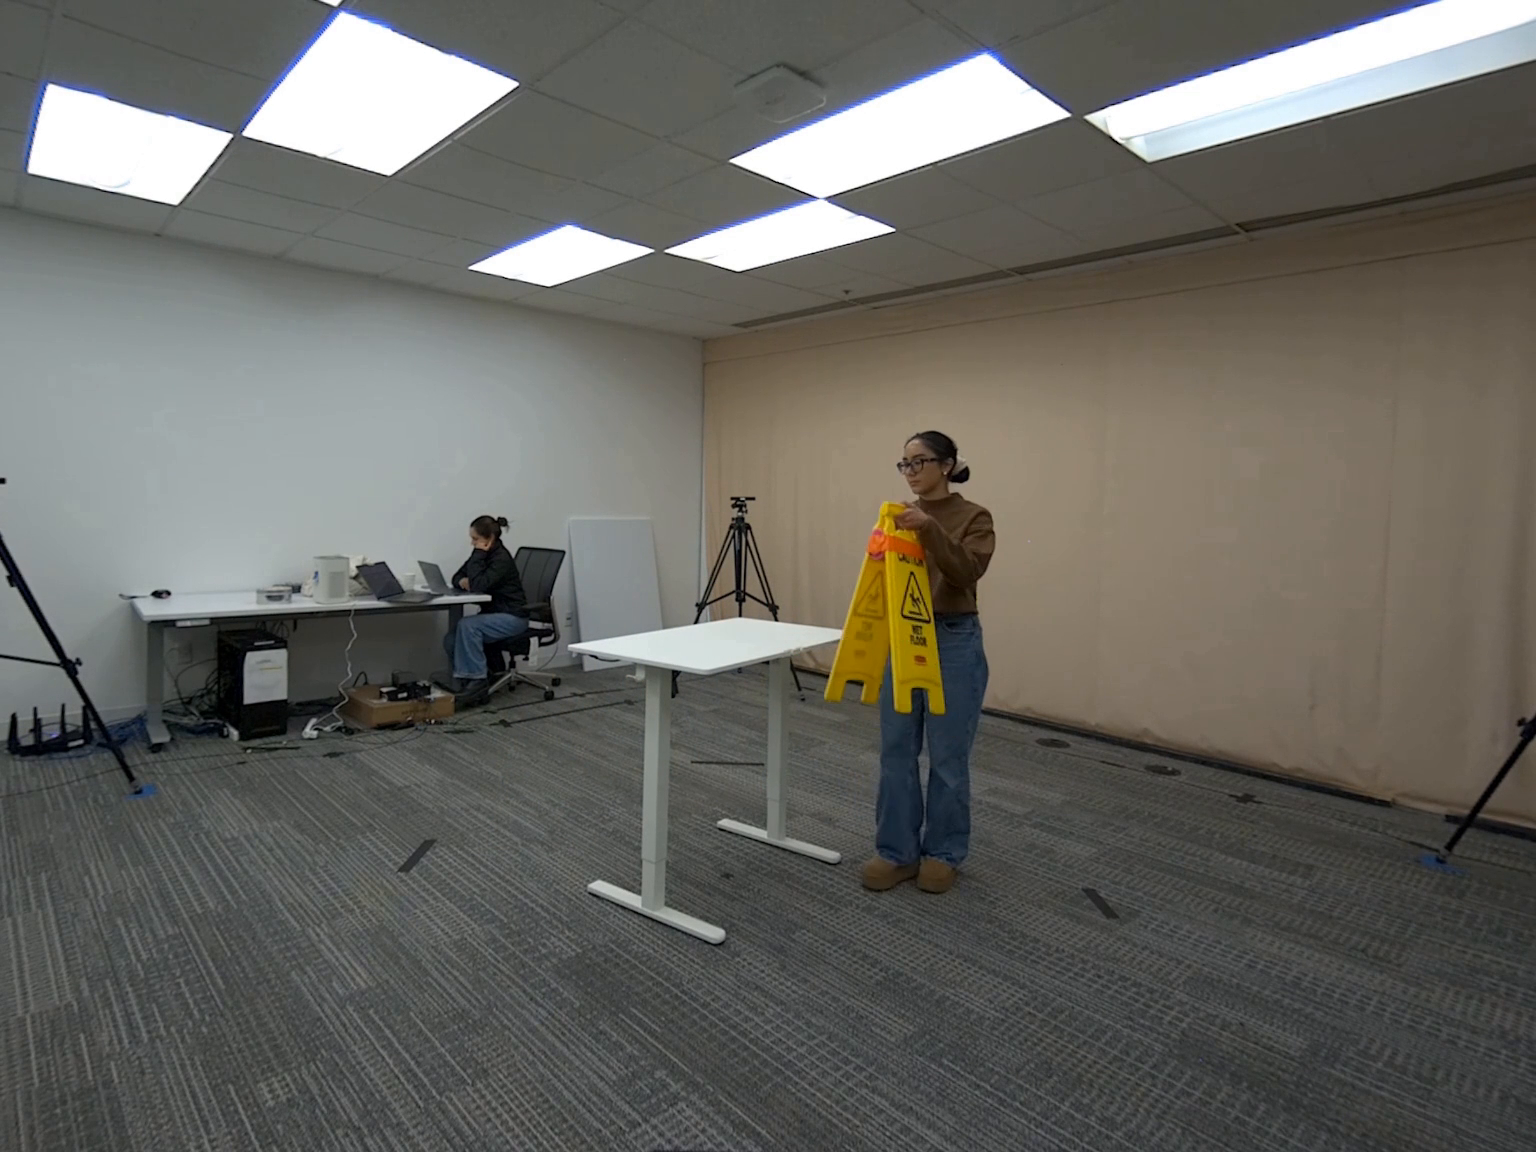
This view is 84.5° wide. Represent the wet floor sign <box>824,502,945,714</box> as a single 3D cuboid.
[{"bbox_3d":[0.395,0.097,2.699,0.296,0.649,0.274,0,-9,42],"label":"wet floor sign"}]
